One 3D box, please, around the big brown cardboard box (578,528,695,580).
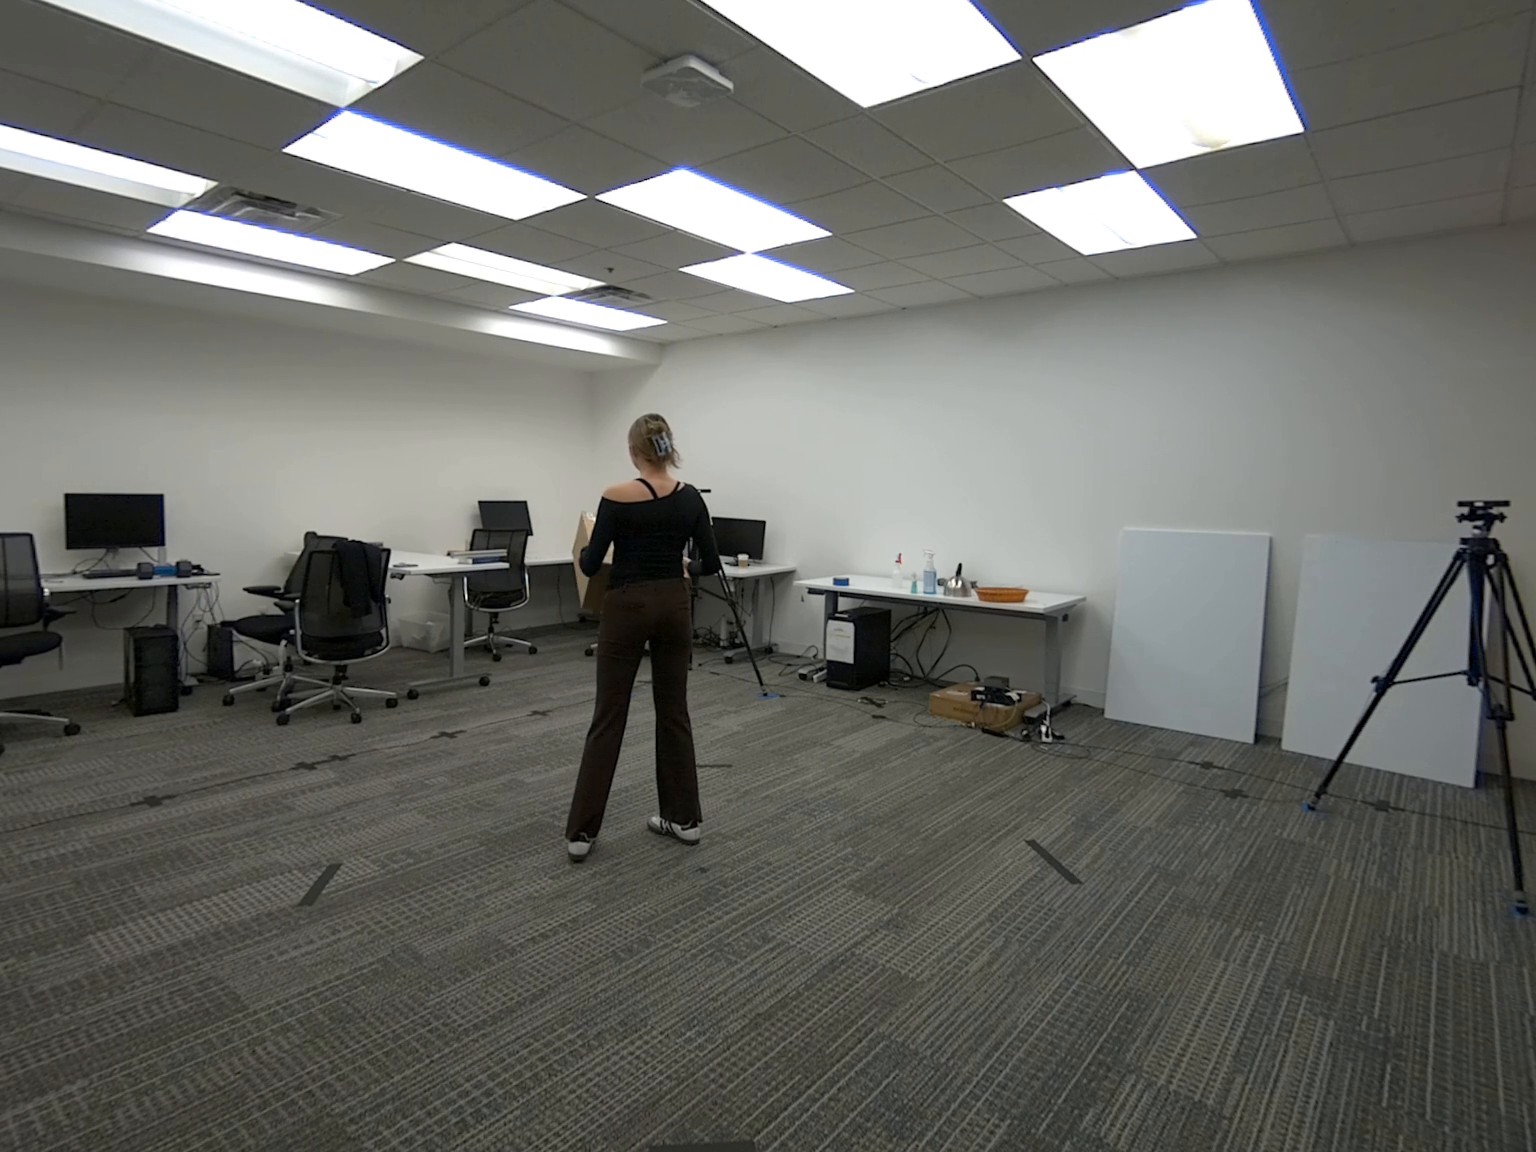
[{"bbox_3d":[-0.626,-0.056,3.743,0.407,0.230,0.610,9,23,-22],"label":"big brown cardboard box"}]
